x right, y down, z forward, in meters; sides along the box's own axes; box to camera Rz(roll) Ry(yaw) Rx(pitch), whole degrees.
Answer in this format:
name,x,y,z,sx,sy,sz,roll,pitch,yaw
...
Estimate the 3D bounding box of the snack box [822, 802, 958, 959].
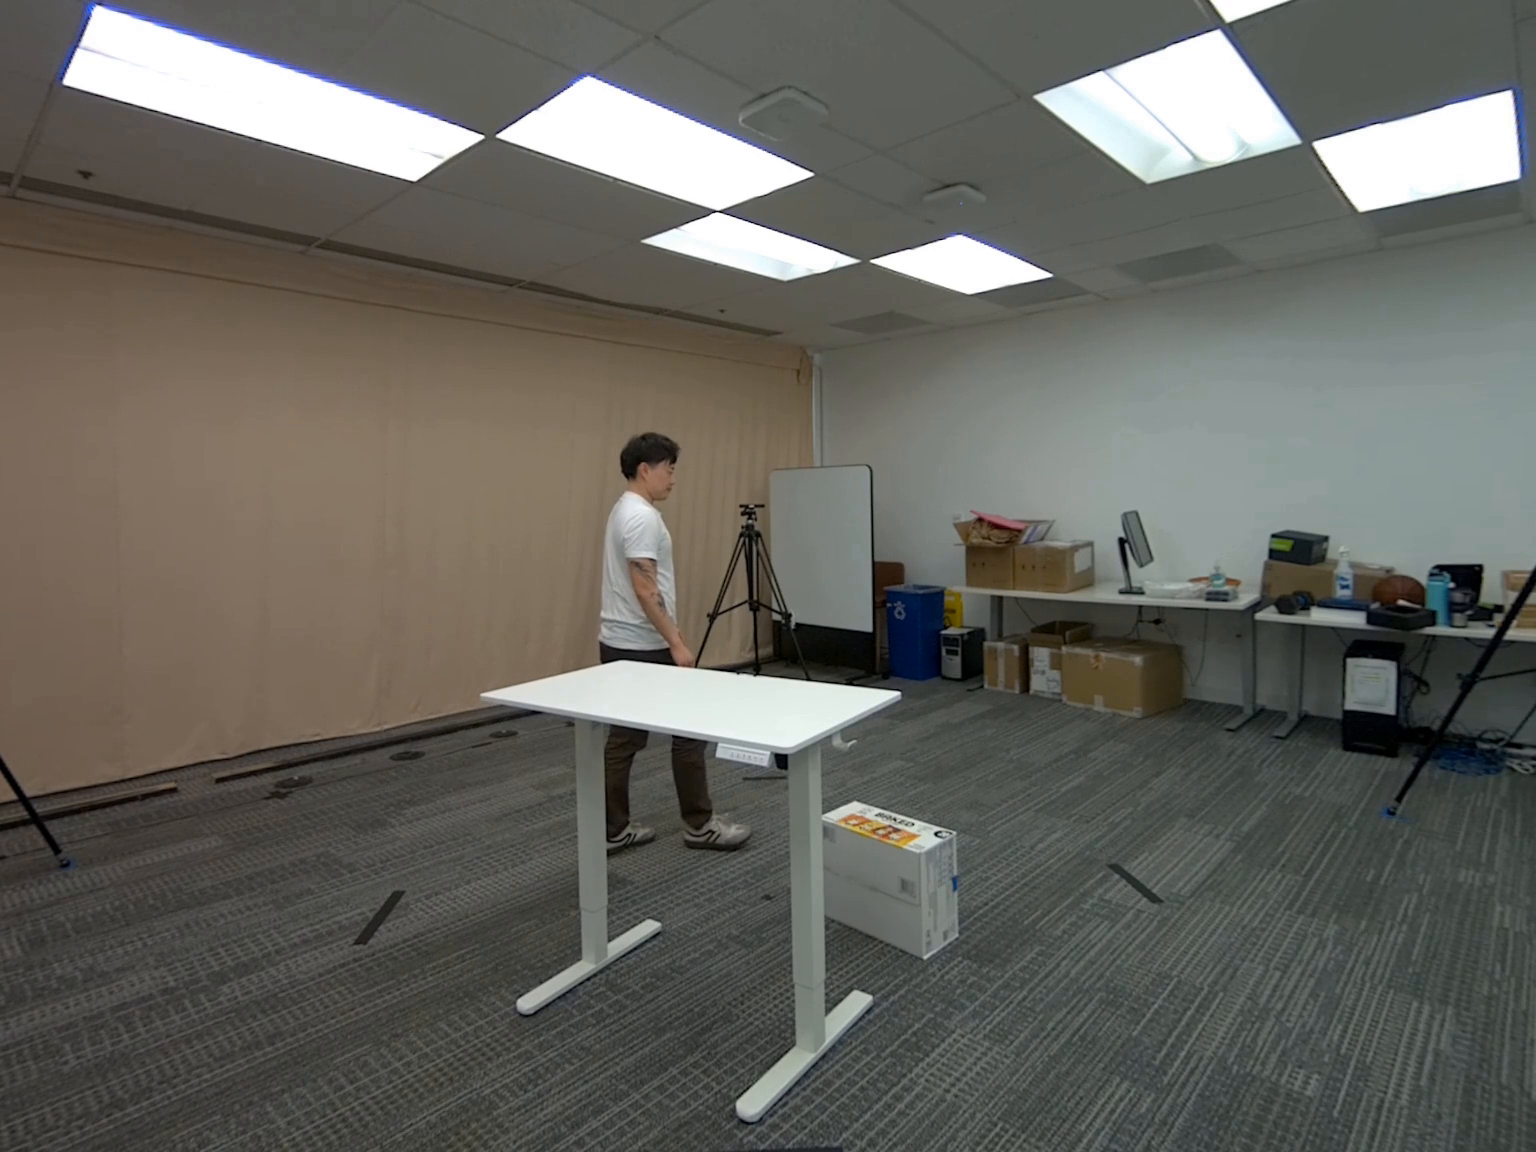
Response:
name,x,y,z,sx,sy,sz,roll,pitch,yaw
snack box,0.397,0.983,2.757,0.199,0.339,0.418,-6,7,-44
